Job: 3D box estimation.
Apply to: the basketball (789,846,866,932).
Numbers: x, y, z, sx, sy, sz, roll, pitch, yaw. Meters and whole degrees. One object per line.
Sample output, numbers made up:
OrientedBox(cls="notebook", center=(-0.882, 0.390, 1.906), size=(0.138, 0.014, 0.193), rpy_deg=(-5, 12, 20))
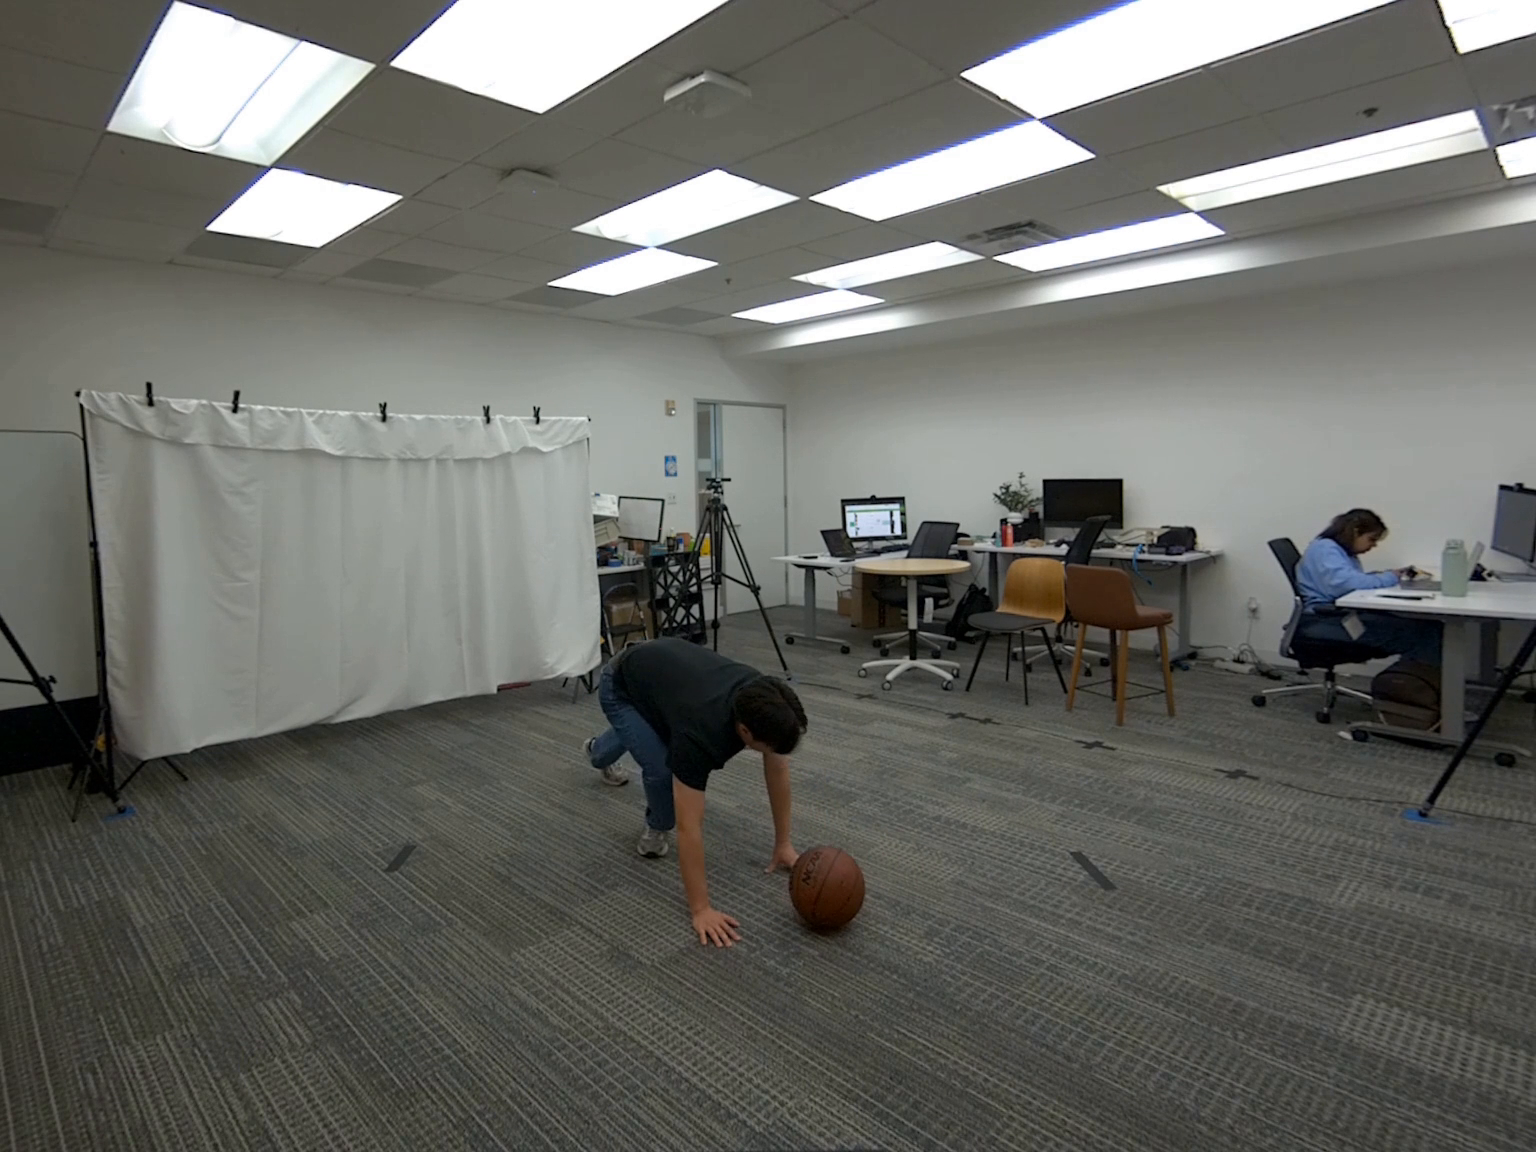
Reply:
OrientedBox(cls="basketball", center=(0.191, 0.964, 2.662), size=(0.236, 0.235, 0.237), rpy_deg=(-1, 5, -2))
